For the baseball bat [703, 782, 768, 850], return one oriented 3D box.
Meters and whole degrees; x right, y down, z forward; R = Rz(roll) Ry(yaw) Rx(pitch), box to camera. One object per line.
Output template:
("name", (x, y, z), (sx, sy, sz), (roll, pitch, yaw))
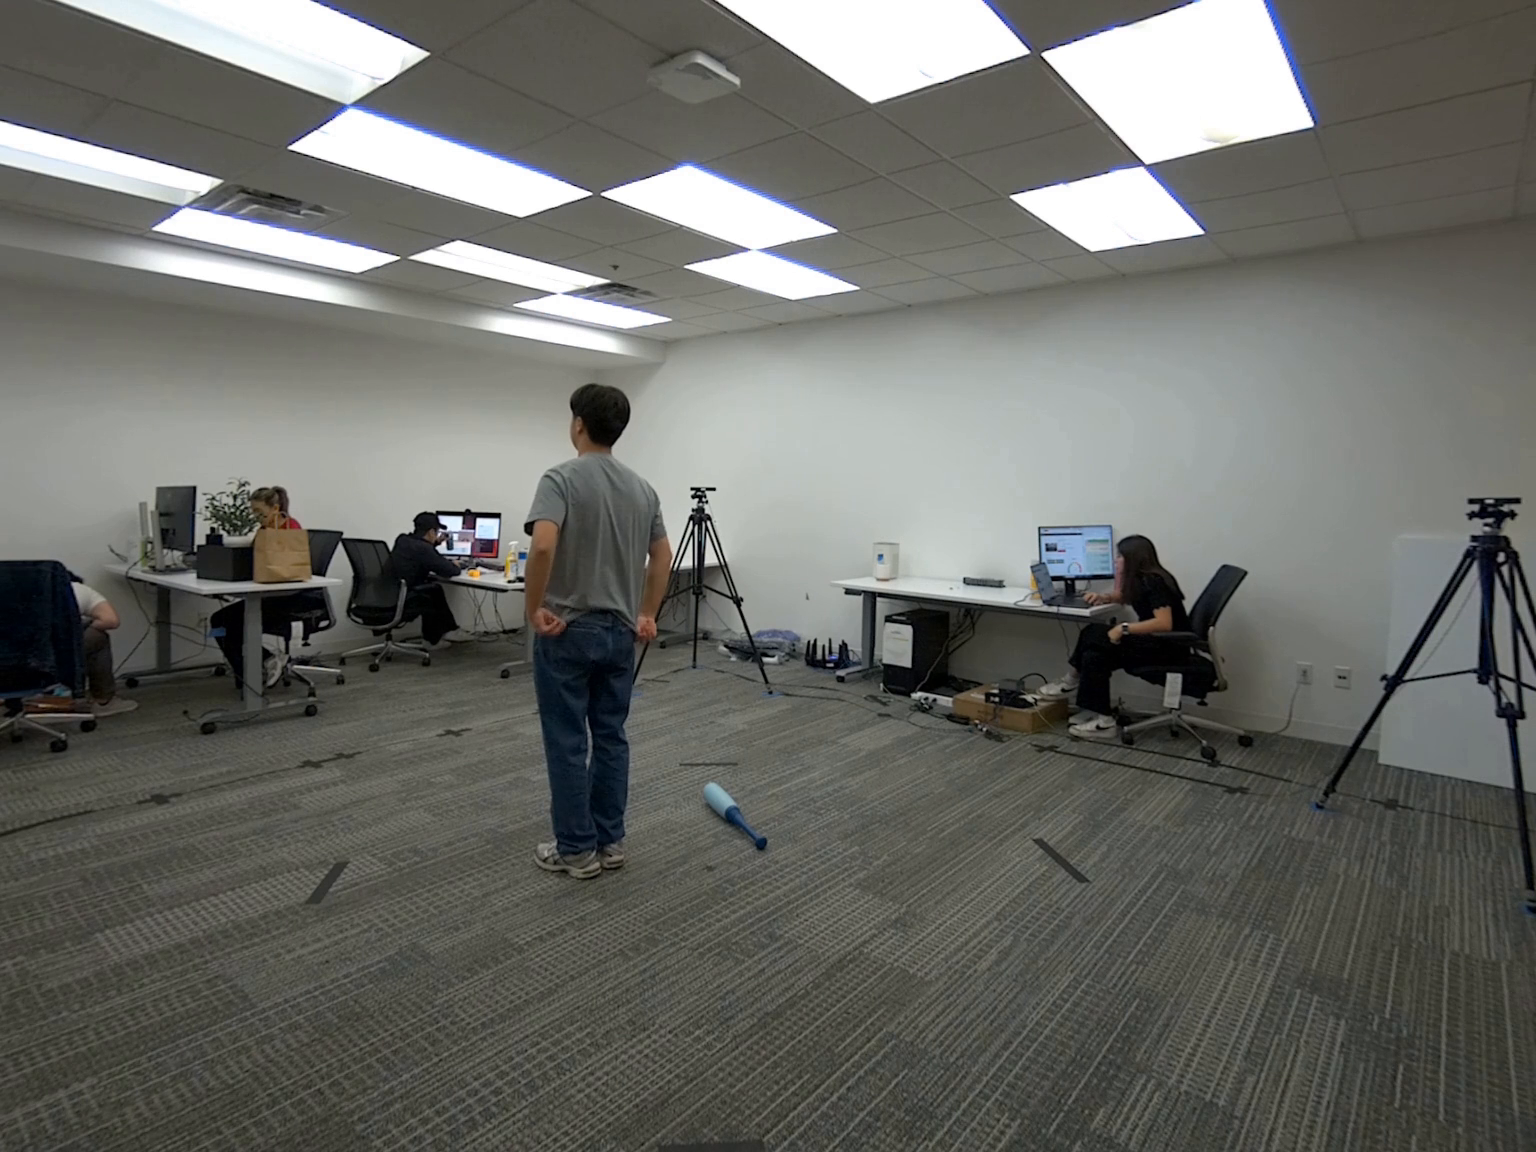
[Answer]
("baseball bat", (-0.149, 0.990, 3.525), (0.087, 0.088, 0.559), (-1, 9, -24))
